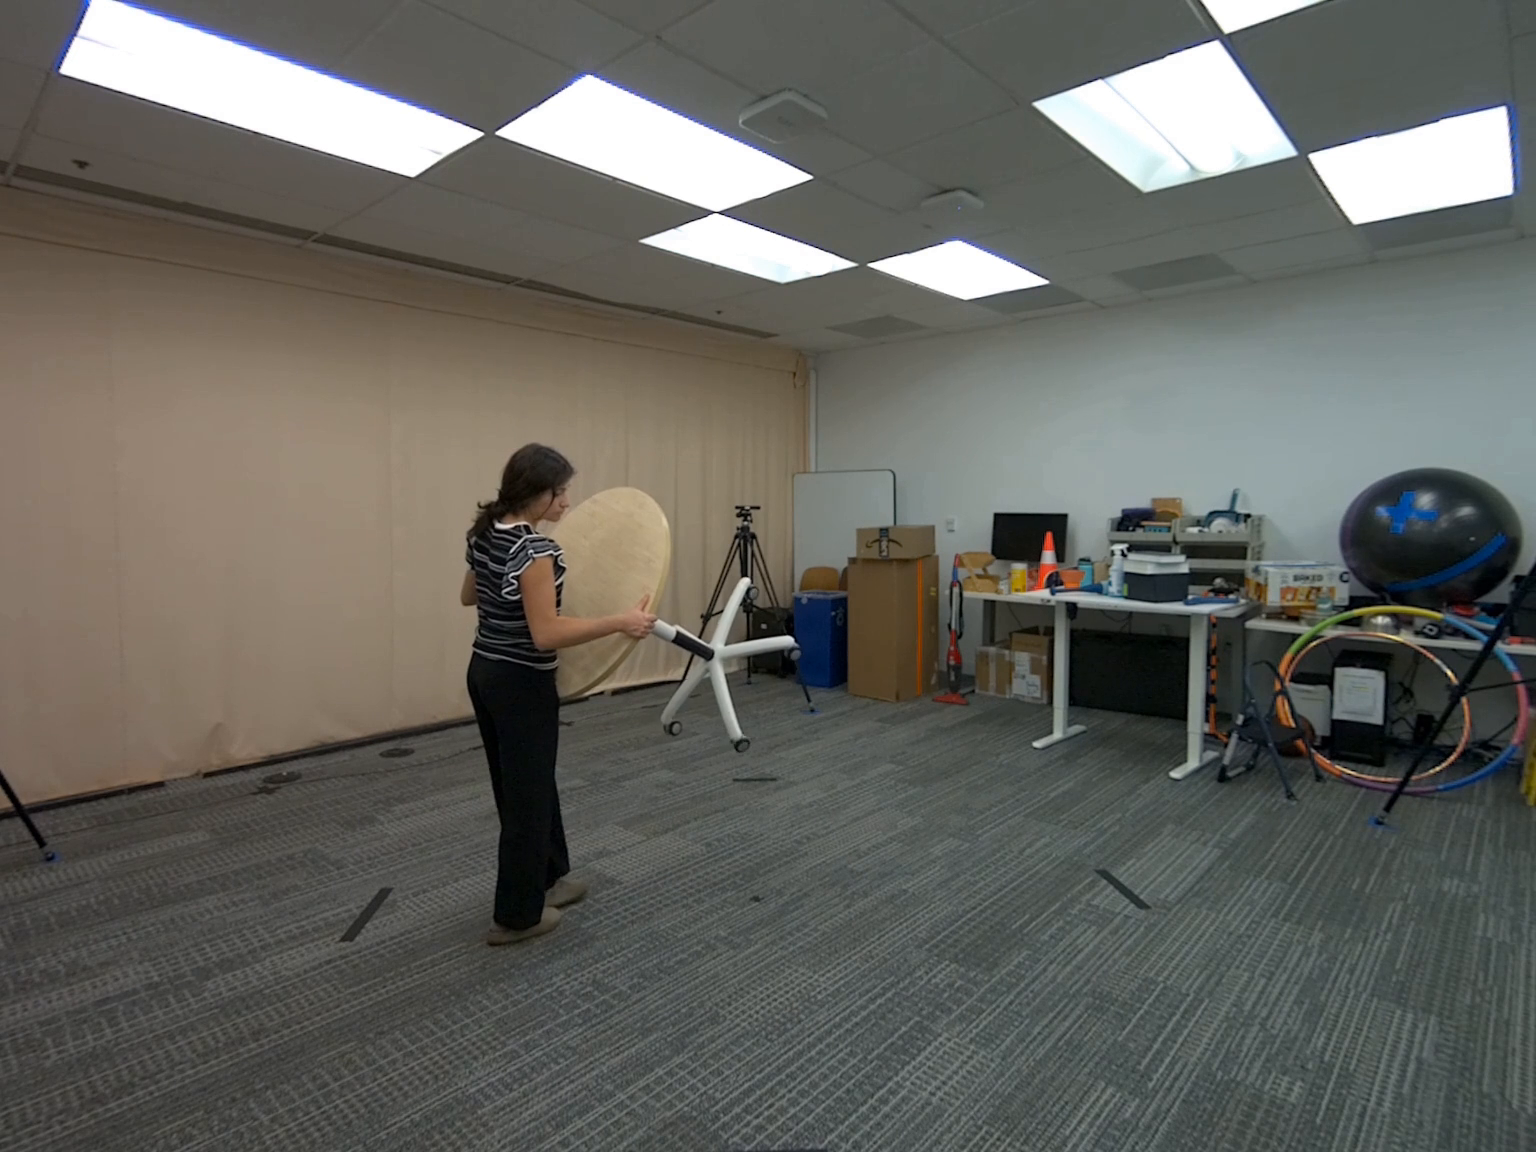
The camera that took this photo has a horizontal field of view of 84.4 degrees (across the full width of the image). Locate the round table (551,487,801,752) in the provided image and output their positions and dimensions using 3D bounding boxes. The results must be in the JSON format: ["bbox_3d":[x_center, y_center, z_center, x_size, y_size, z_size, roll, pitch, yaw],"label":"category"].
[{"bbox_3d":[-0.377,0.216,3.082,0.789,0.766,0.765,4,-23,45],"label":"round table"}]
